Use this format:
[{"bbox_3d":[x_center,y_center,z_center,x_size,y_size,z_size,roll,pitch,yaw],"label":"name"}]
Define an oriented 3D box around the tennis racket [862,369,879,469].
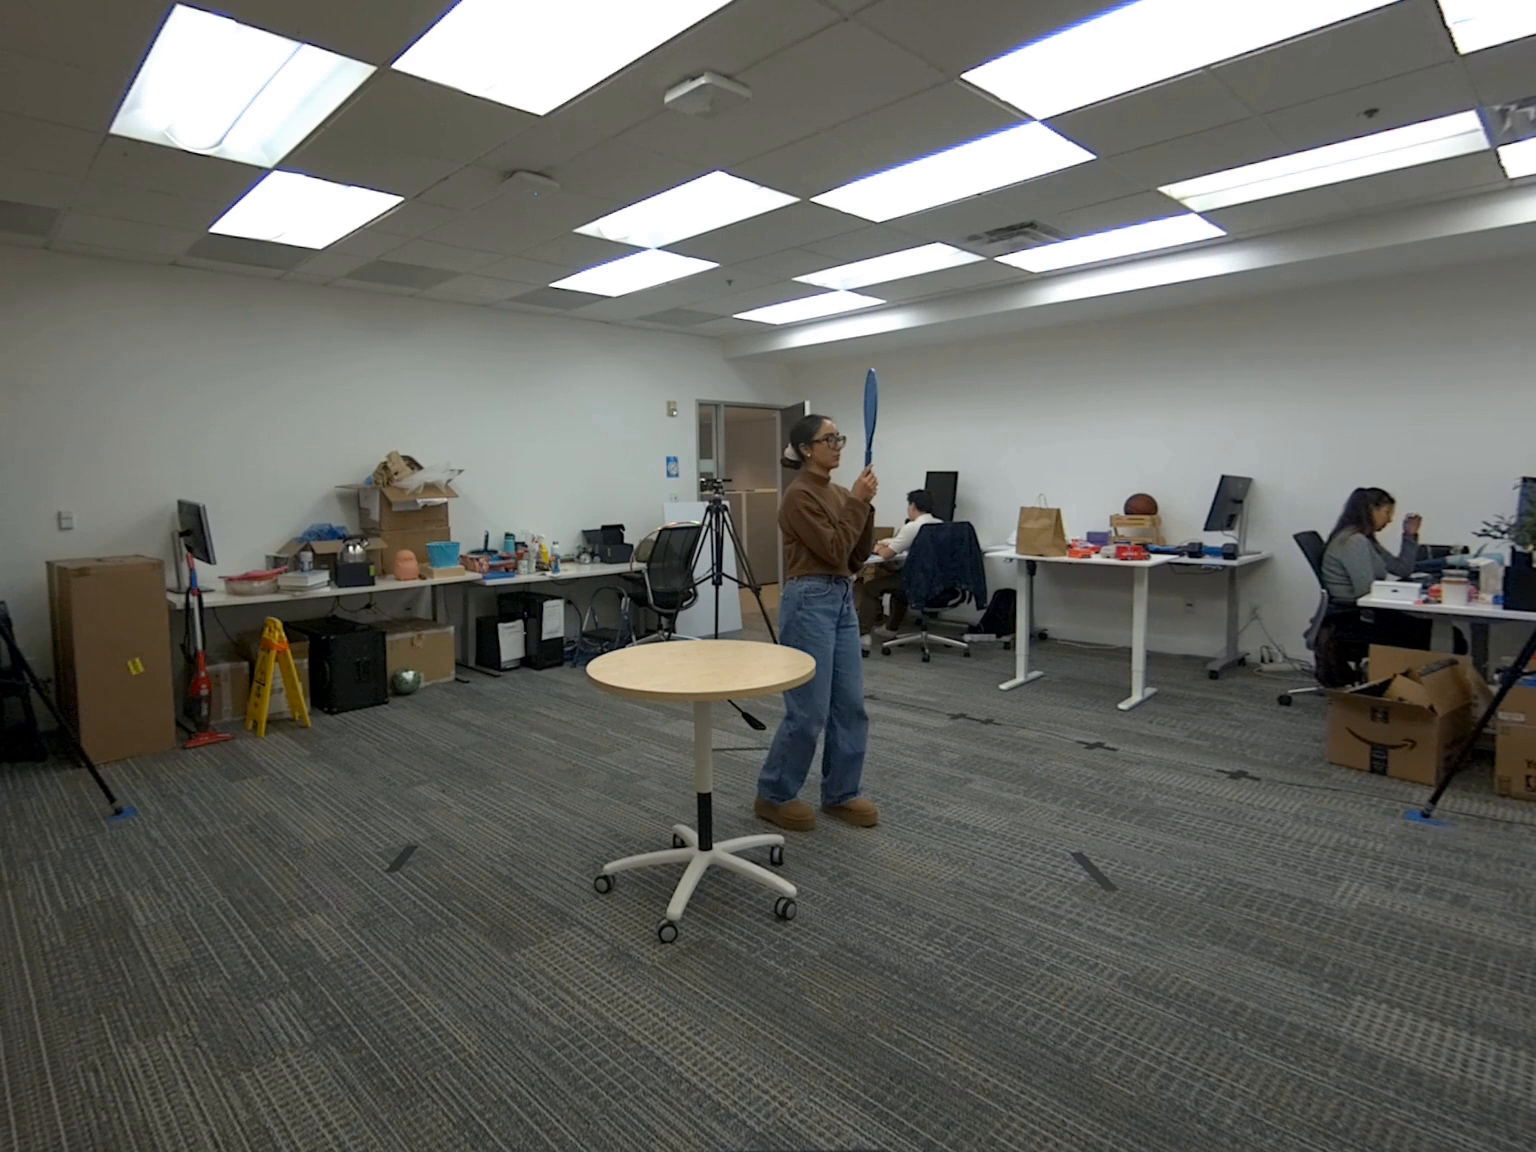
[{"bbox_3d":[0.390,-0.578,3.281,0.031,0.428,0.217,0,13,-4],"label":"tennis racket"}]
